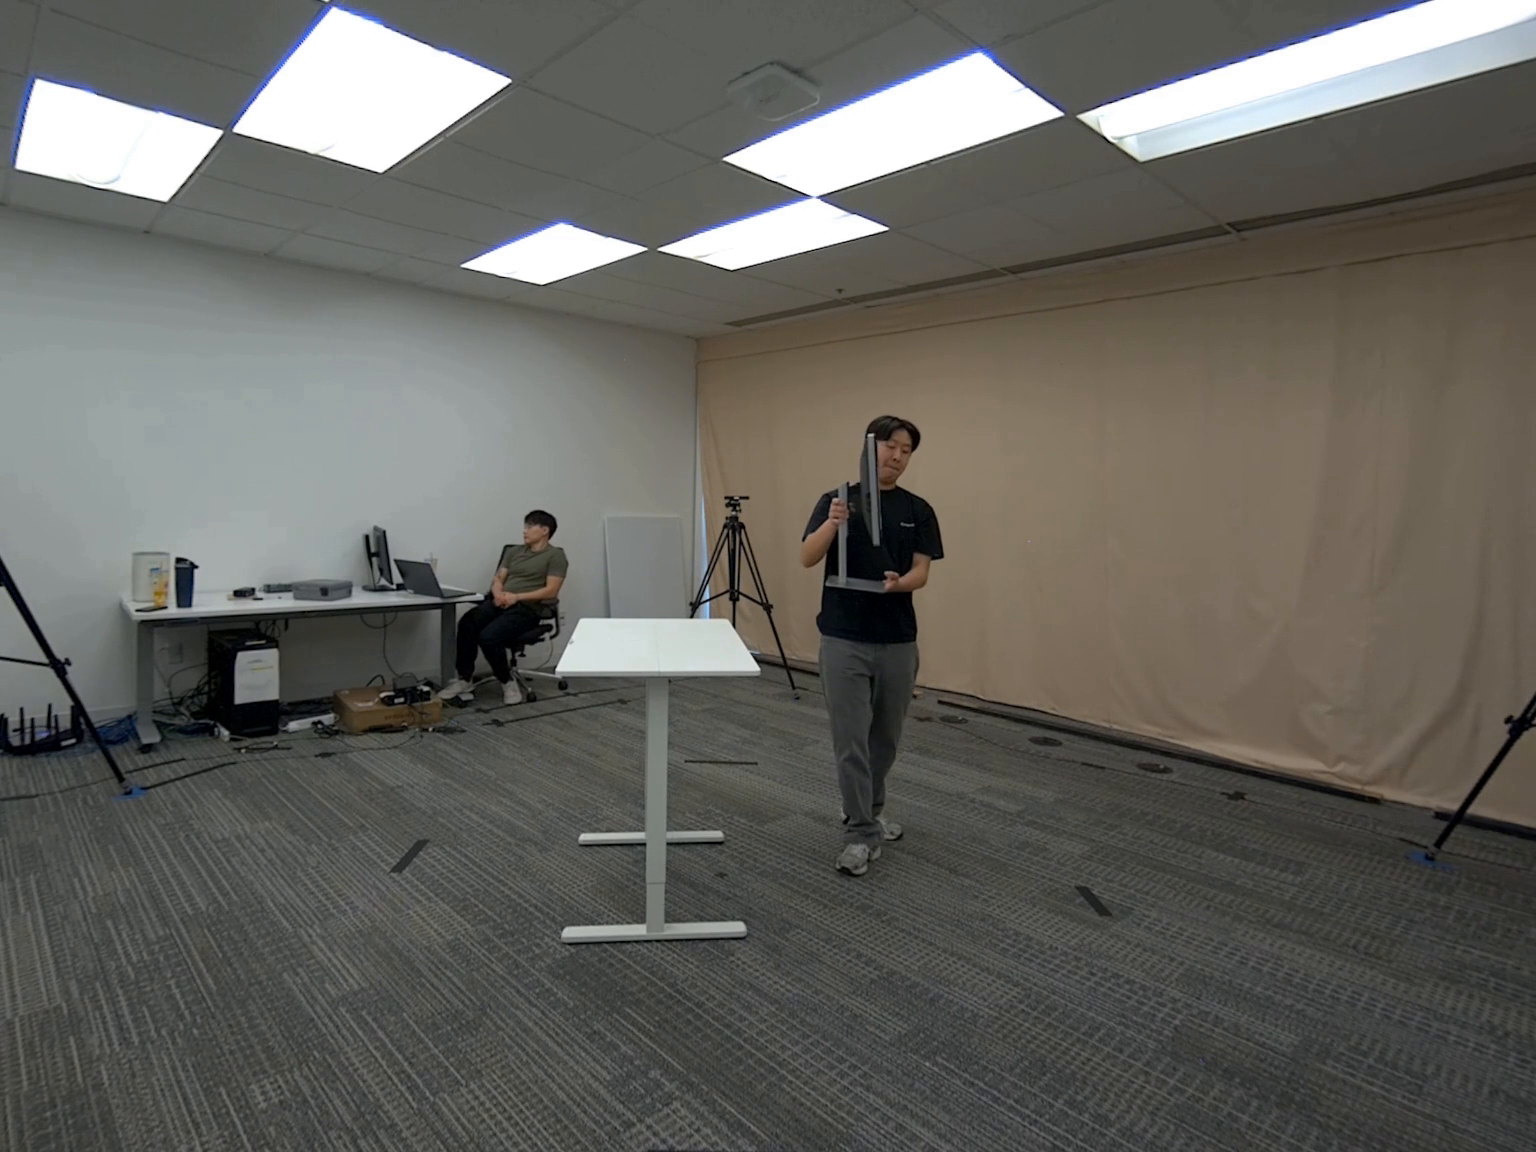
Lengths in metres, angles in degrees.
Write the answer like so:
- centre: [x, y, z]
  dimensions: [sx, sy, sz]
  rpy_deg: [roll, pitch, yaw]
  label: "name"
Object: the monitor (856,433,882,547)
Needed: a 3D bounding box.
- centre: [0.332, -0.218, 2.994]
  dimensions: [0.224, 0.563, 0.559]
  rpy_deg: [12, 8, 10]
  label: "monitor"
